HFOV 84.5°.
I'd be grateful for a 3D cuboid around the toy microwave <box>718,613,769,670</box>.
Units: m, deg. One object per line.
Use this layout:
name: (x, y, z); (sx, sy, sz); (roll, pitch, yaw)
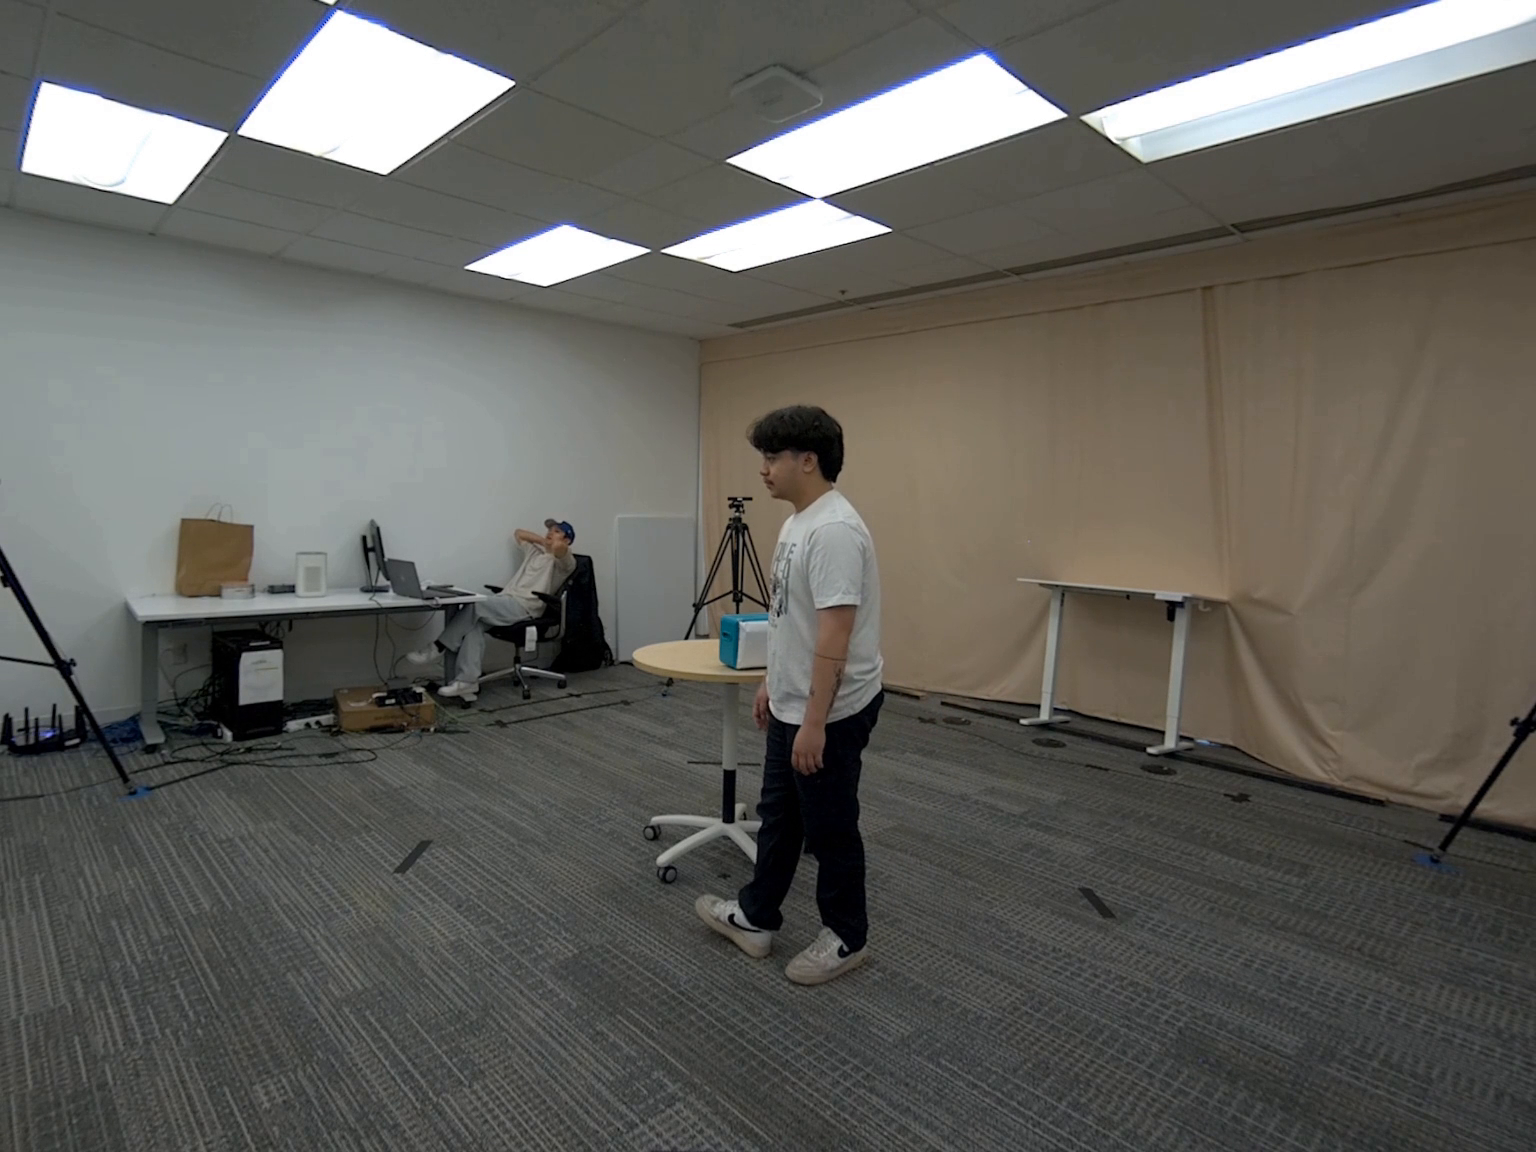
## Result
toy microwave: (-0.024, 0.233, 3.014); (0.281, 0.183, 0.156); (-1, 4, -27)
